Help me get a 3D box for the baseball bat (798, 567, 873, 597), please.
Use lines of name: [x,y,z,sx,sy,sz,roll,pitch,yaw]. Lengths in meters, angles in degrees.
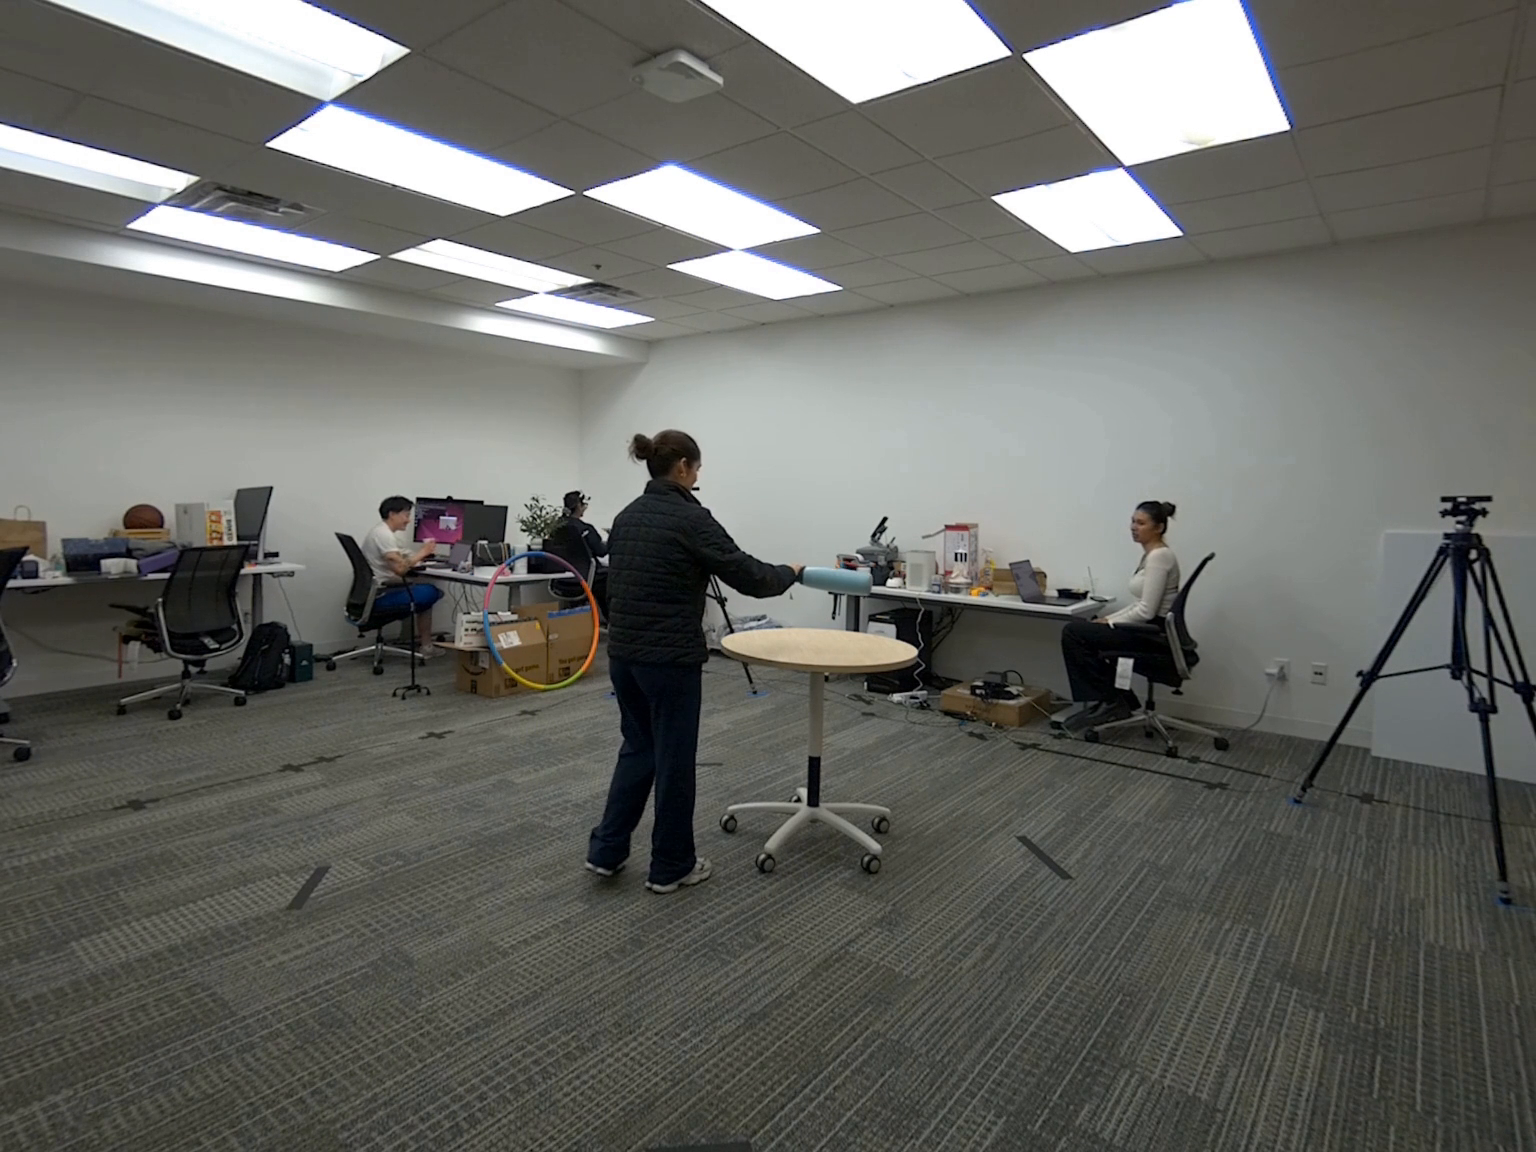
baseball bat: [0.126,-0.002,3.197,0.553,0.089,0.088,7,6,16]
